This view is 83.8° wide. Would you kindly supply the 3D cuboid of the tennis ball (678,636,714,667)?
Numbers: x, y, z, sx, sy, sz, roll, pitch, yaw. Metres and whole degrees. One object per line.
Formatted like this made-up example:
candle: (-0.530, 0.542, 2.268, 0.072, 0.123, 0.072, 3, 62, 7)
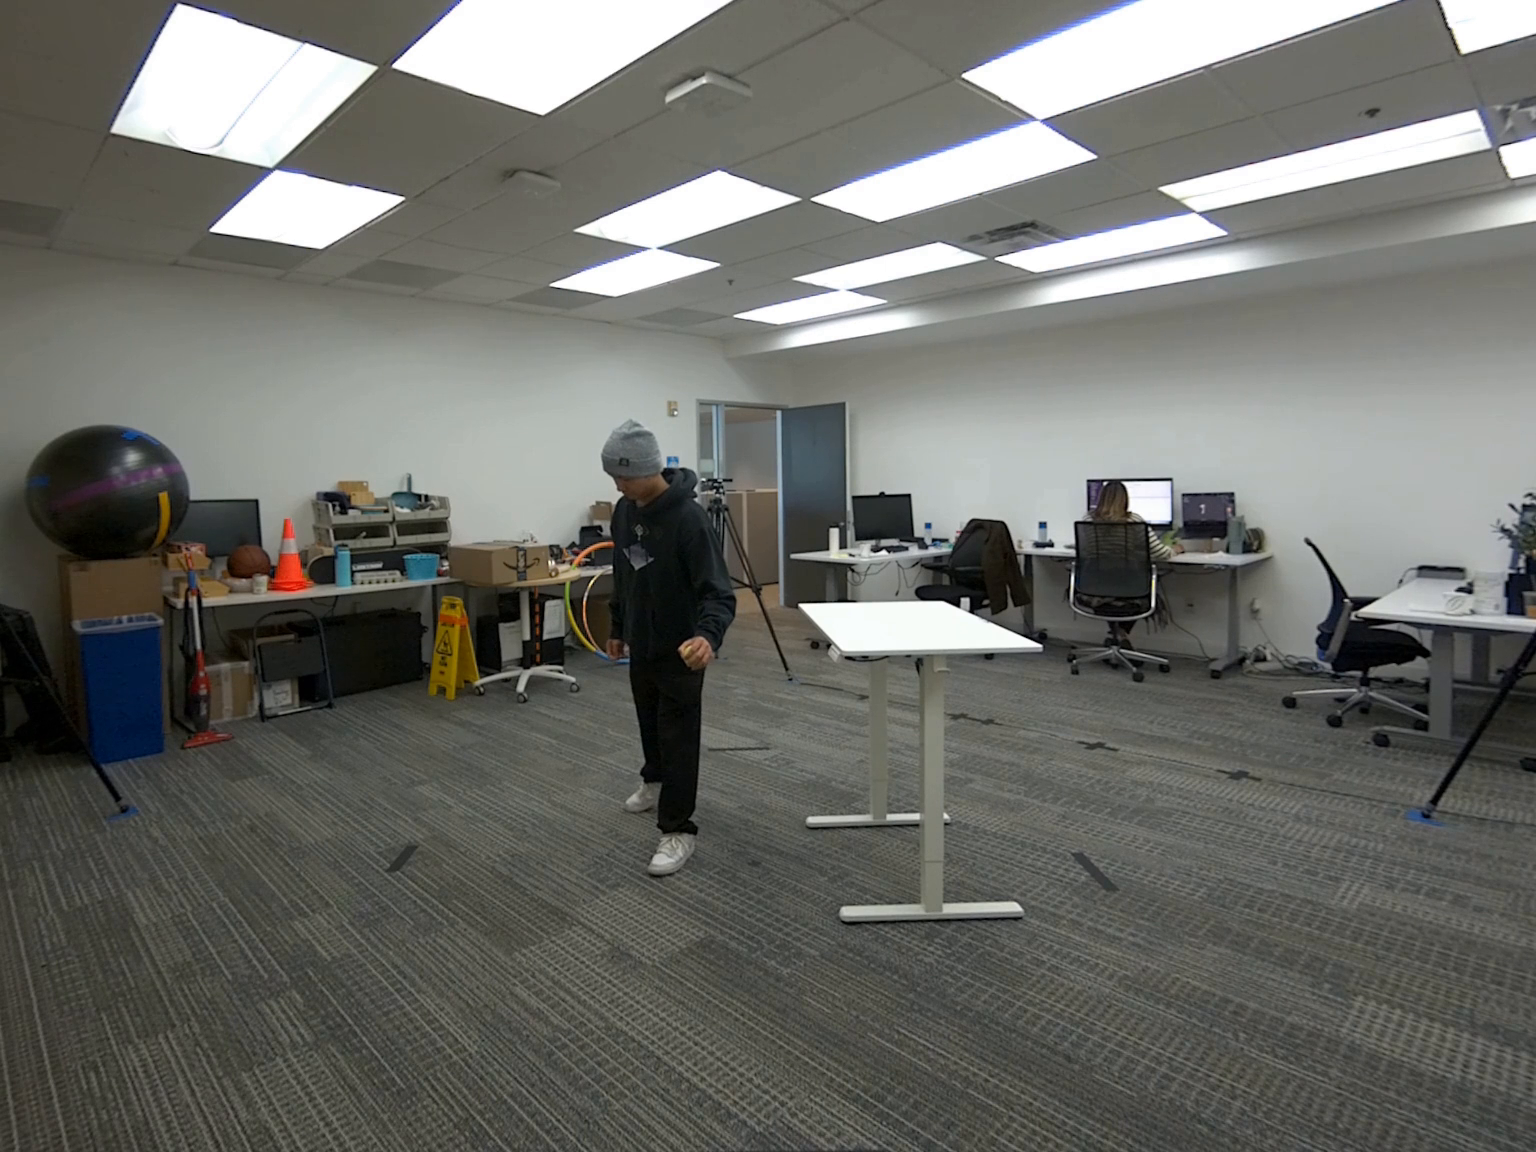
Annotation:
tennis ball: (-0.220, 0.219, 2.685, 0.066, 0.066, 0.067, -1, 5, -2)
